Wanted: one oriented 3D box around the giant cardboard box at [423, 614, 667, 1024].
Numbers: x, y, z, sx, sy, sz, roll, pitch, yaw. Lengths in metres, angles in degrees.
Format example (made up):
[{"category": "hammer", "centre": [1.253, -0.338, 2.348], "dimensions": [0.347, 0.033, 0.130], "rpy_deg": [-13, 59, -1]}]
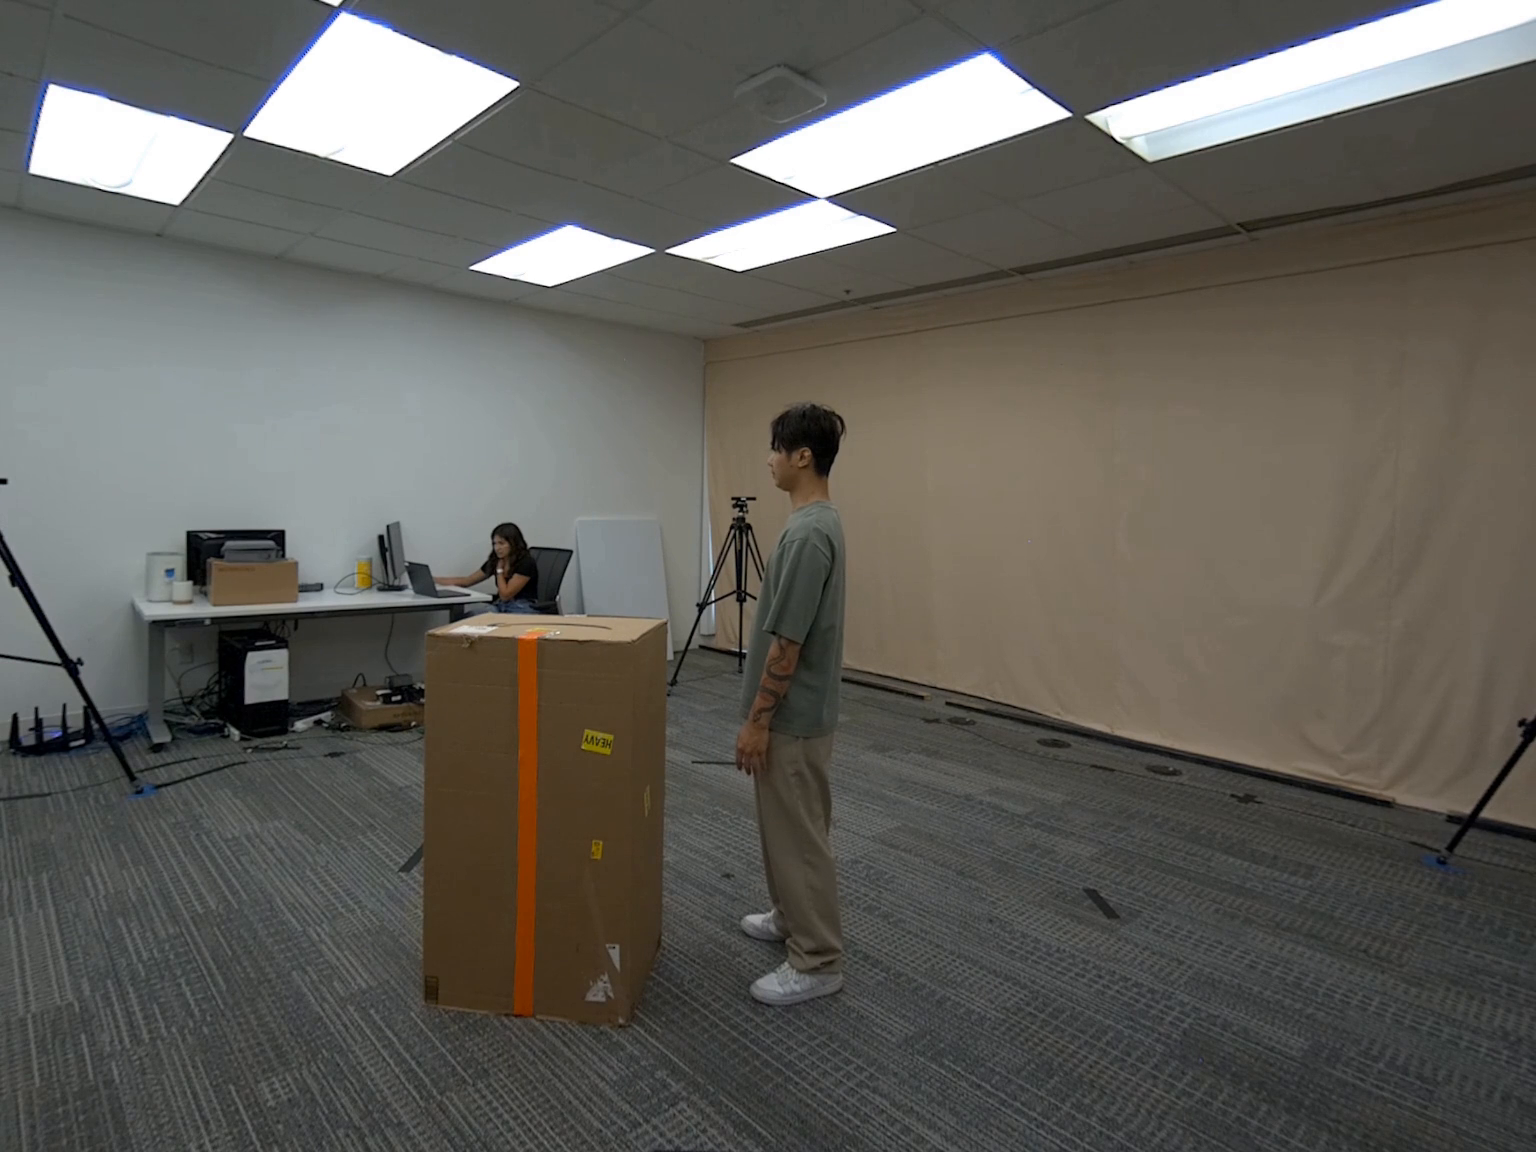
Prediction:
[{"category": "giant cardboard box", "centre": [-0.625, 0.648, 2.419], "dimensions": [0.581, 1.024, 0.424], "rpy_deg": [2, 3, 7]}]
